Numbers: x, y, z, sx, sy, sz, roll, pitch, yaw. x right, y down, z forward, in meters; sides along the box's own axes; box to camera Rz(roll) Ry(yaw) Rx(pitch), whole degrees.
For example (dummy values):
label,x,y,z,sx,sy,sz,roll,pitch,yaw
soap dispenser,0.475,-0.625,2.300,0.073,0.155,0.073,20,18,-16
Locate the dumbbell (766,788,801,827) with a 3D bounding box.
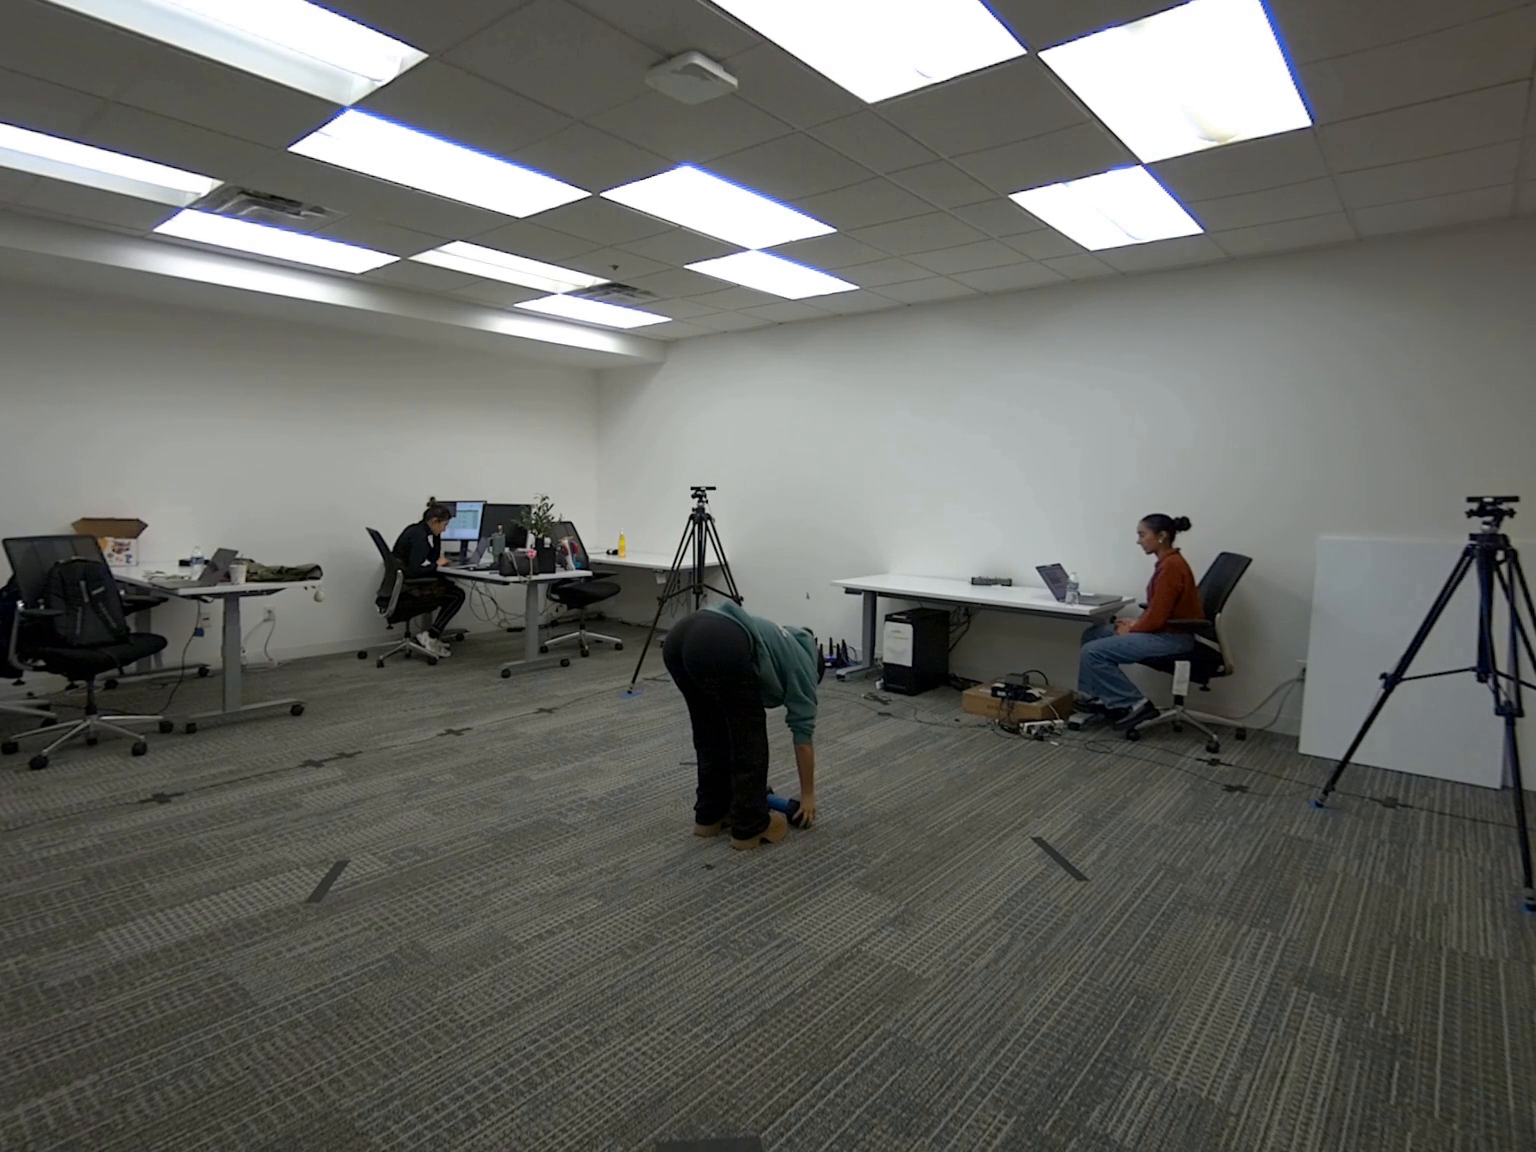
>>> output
label,x,y,z,sx,sy,sz,roll,pitch,yaw
dumbbell,0.037,0.968,3.605,0.304,0.124,0.104,8,-27,41
